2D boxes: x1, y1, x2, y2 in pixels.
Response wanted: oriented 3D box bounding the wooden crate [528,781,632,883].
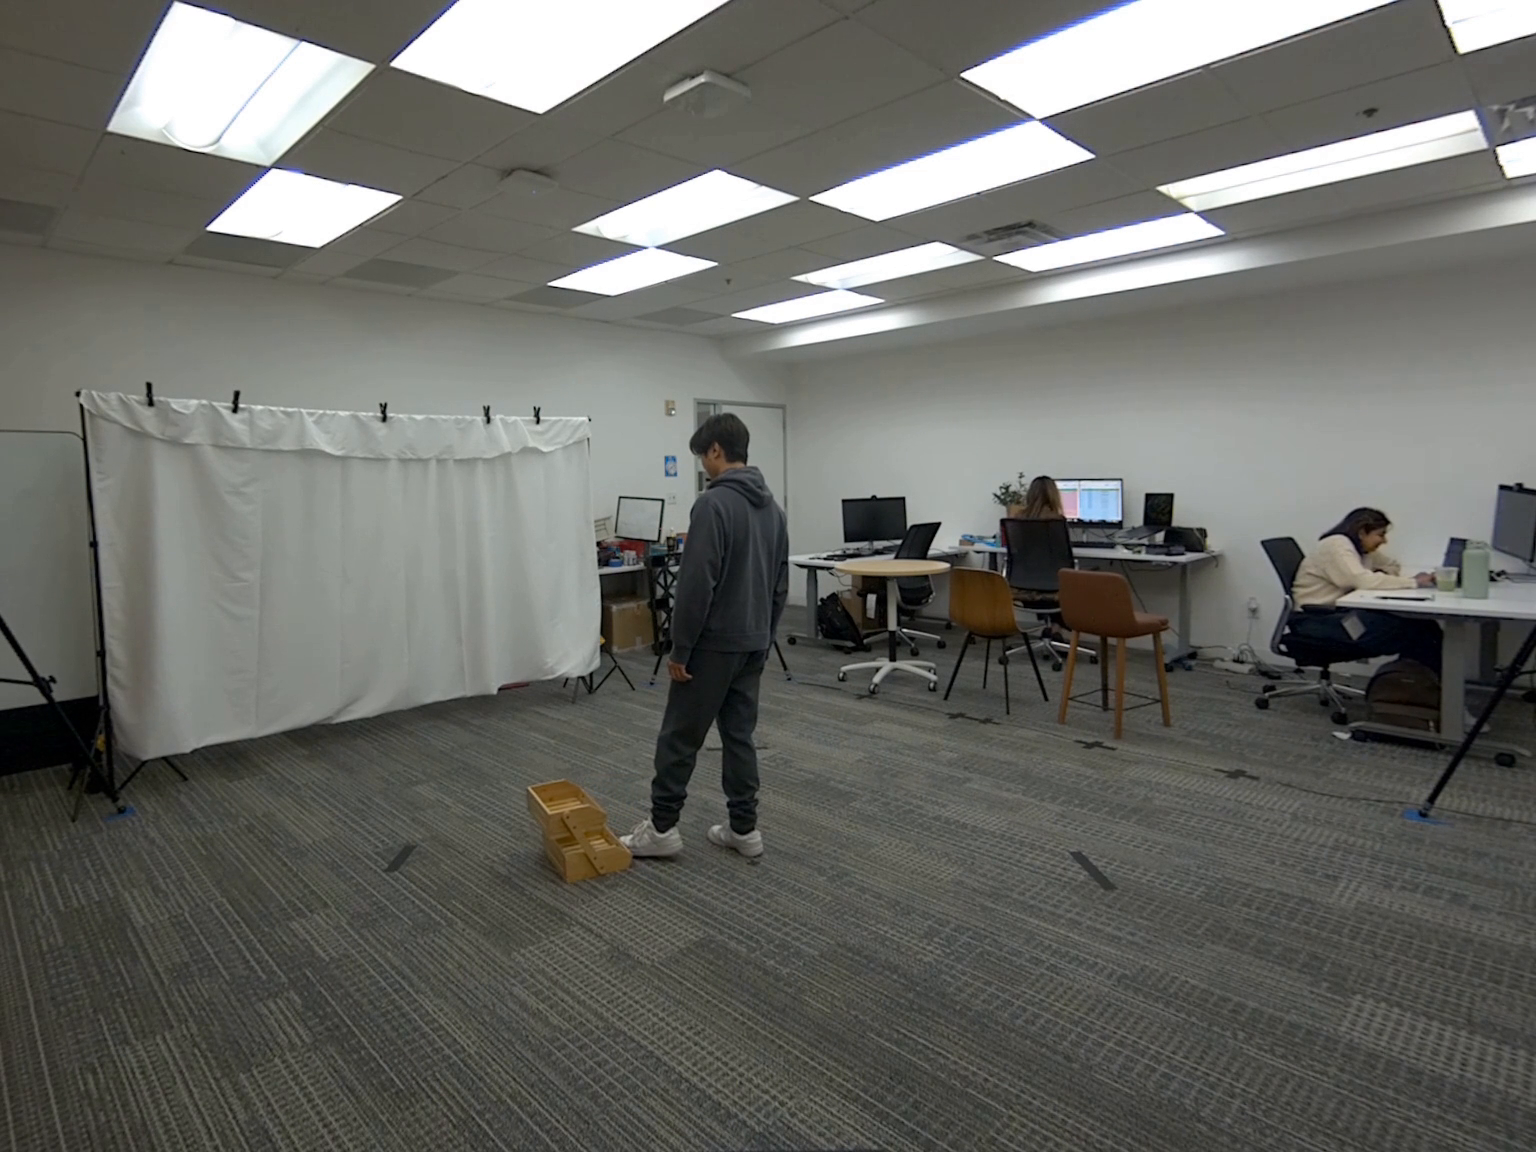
[{"bbox_3d":[-0.694,0.916,3.143,0.295,0.272,0.333,-5,7,-29],"label":"wooden crate"}]
